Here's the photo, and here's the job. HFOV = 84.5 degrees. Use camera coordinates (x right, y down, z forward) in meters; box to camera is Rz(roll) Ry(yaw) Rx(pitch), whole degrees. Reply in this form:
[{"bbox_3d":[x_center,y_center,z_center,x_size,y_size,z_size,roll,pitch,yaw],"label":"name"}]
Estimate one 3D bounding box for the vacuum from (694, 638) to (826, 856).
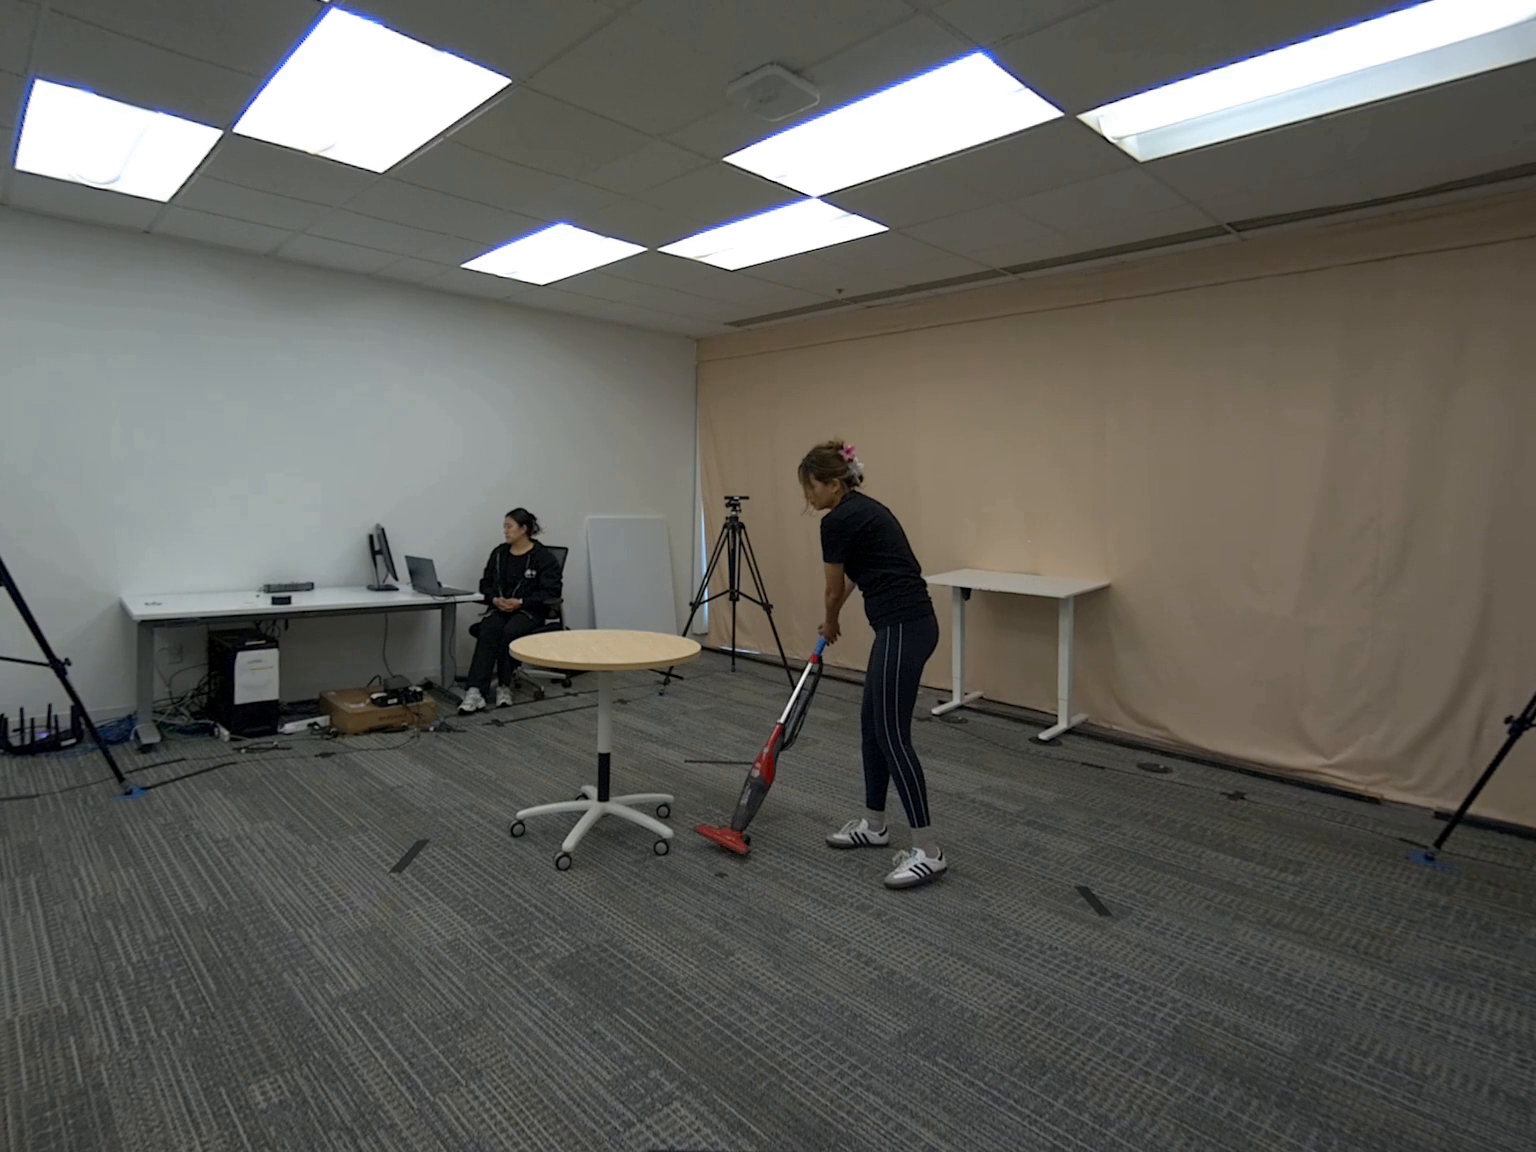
[{"bbox_3d":[0.066,0.643,3.559,0.259,1.055,0.139,8,-33,37],"label":"vacuum"}]
